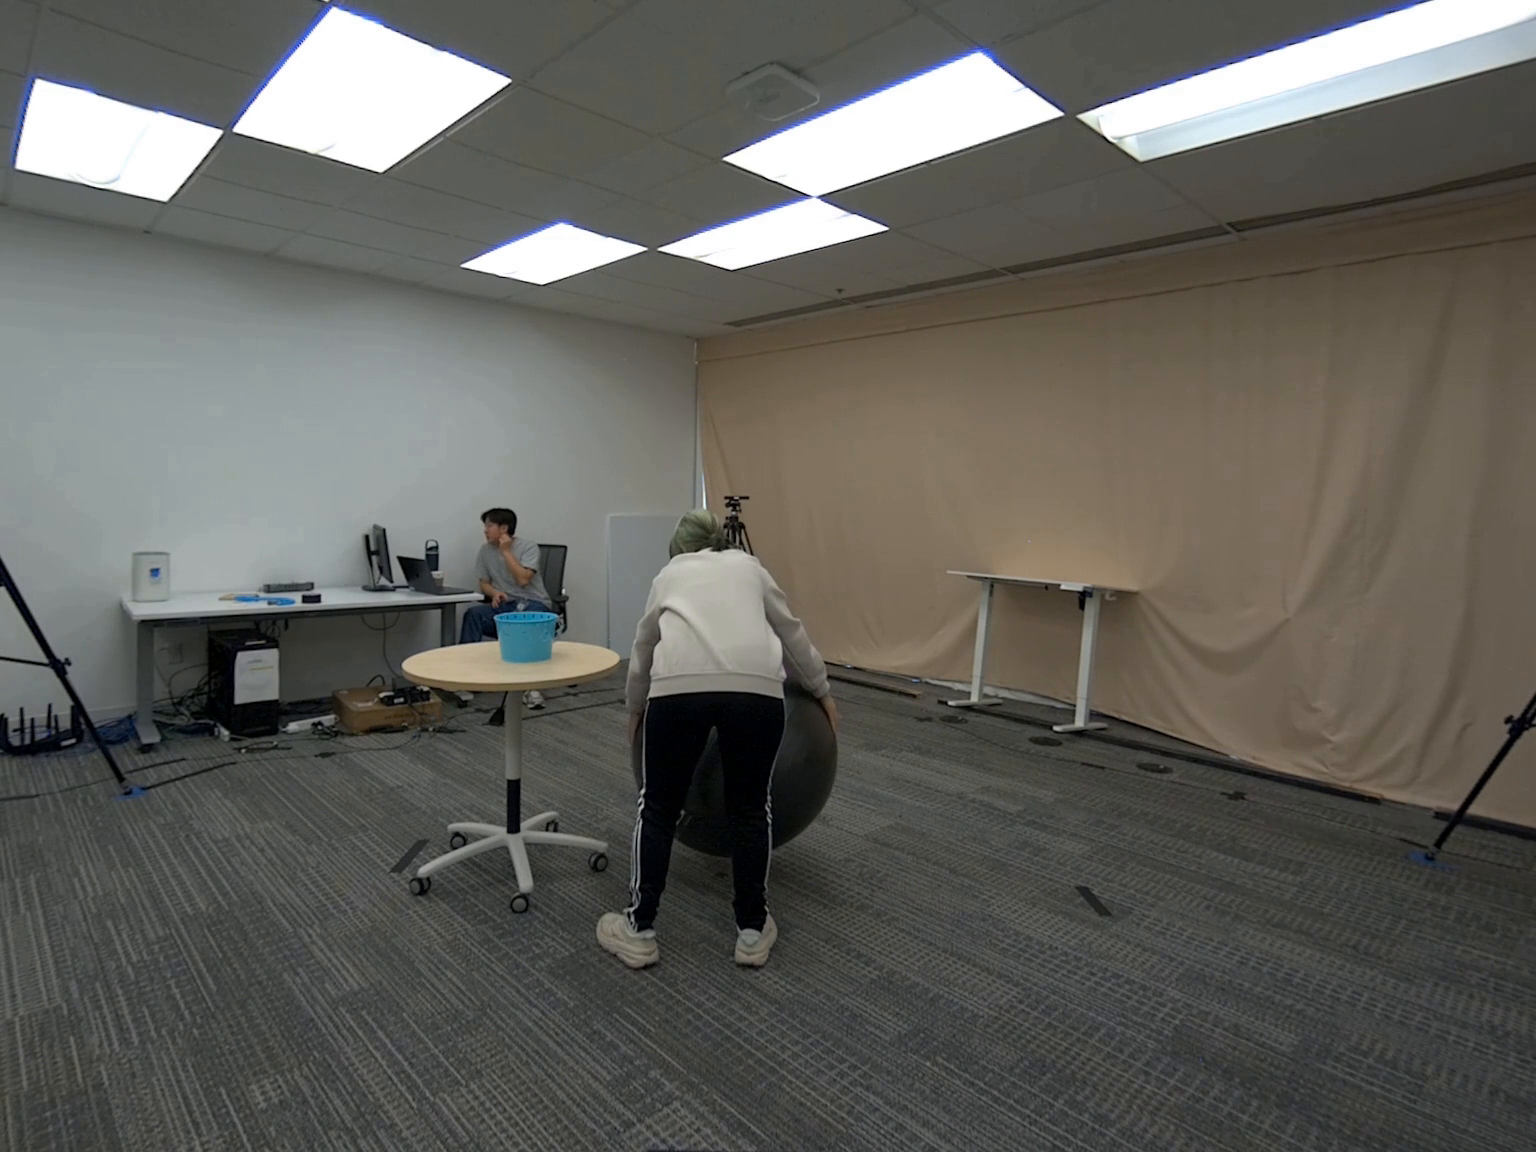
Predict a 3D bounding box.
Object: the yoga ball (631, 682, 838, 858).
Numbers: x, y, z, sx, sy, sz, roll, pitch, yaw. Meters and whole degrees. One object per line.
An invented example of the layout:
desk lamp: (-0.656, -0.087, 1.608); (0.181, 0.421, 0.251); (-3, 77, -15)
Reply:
yoga ball: (-0.122, 0.643, 3.106); (0.757, 0.756, 0.761); (1, 4, -1)
